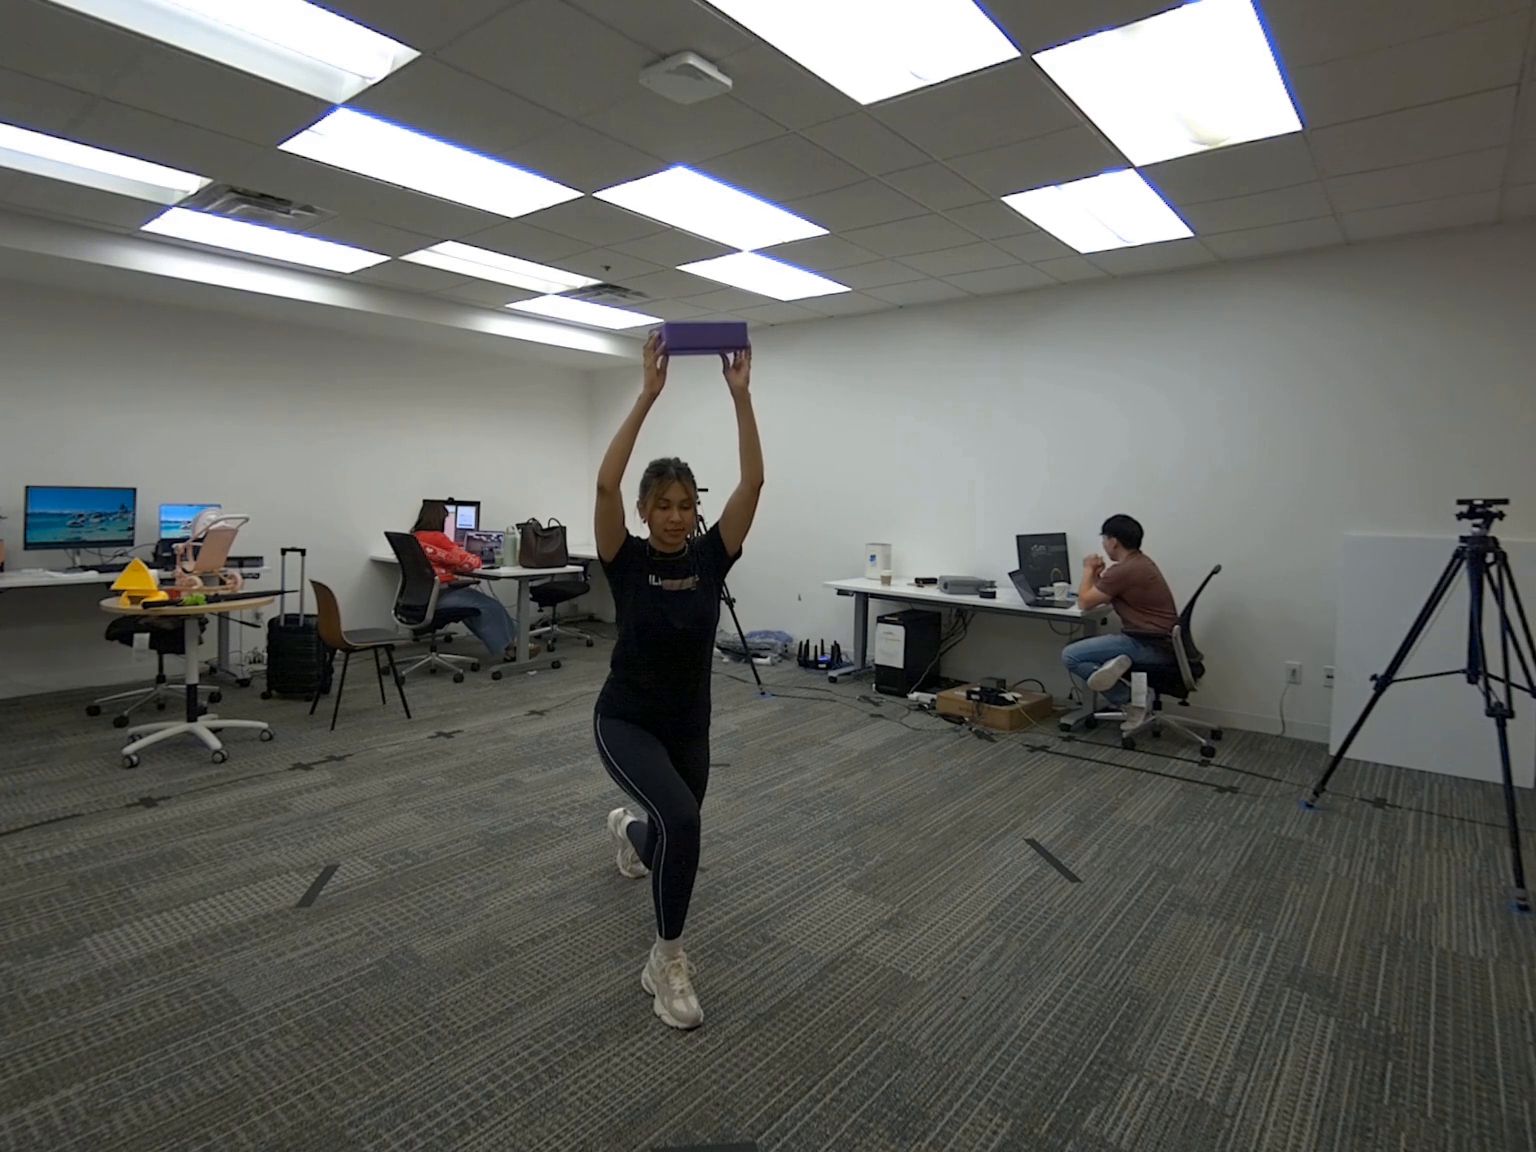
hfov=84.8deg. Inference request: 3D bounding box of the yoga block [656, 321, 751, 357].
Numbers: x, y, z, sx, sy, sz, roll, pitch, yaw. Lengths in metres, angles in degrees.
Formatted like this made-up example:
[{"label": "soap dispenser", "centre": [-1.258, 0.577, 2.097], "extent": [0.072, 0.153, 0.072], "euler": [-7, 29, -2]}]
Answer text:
[{"label": "yoga block", "centre": [-0.187, -0.635, 2.226], "extent": [0.225, 0.076, 0.153], "euler": [-8, 10, -20]}]
